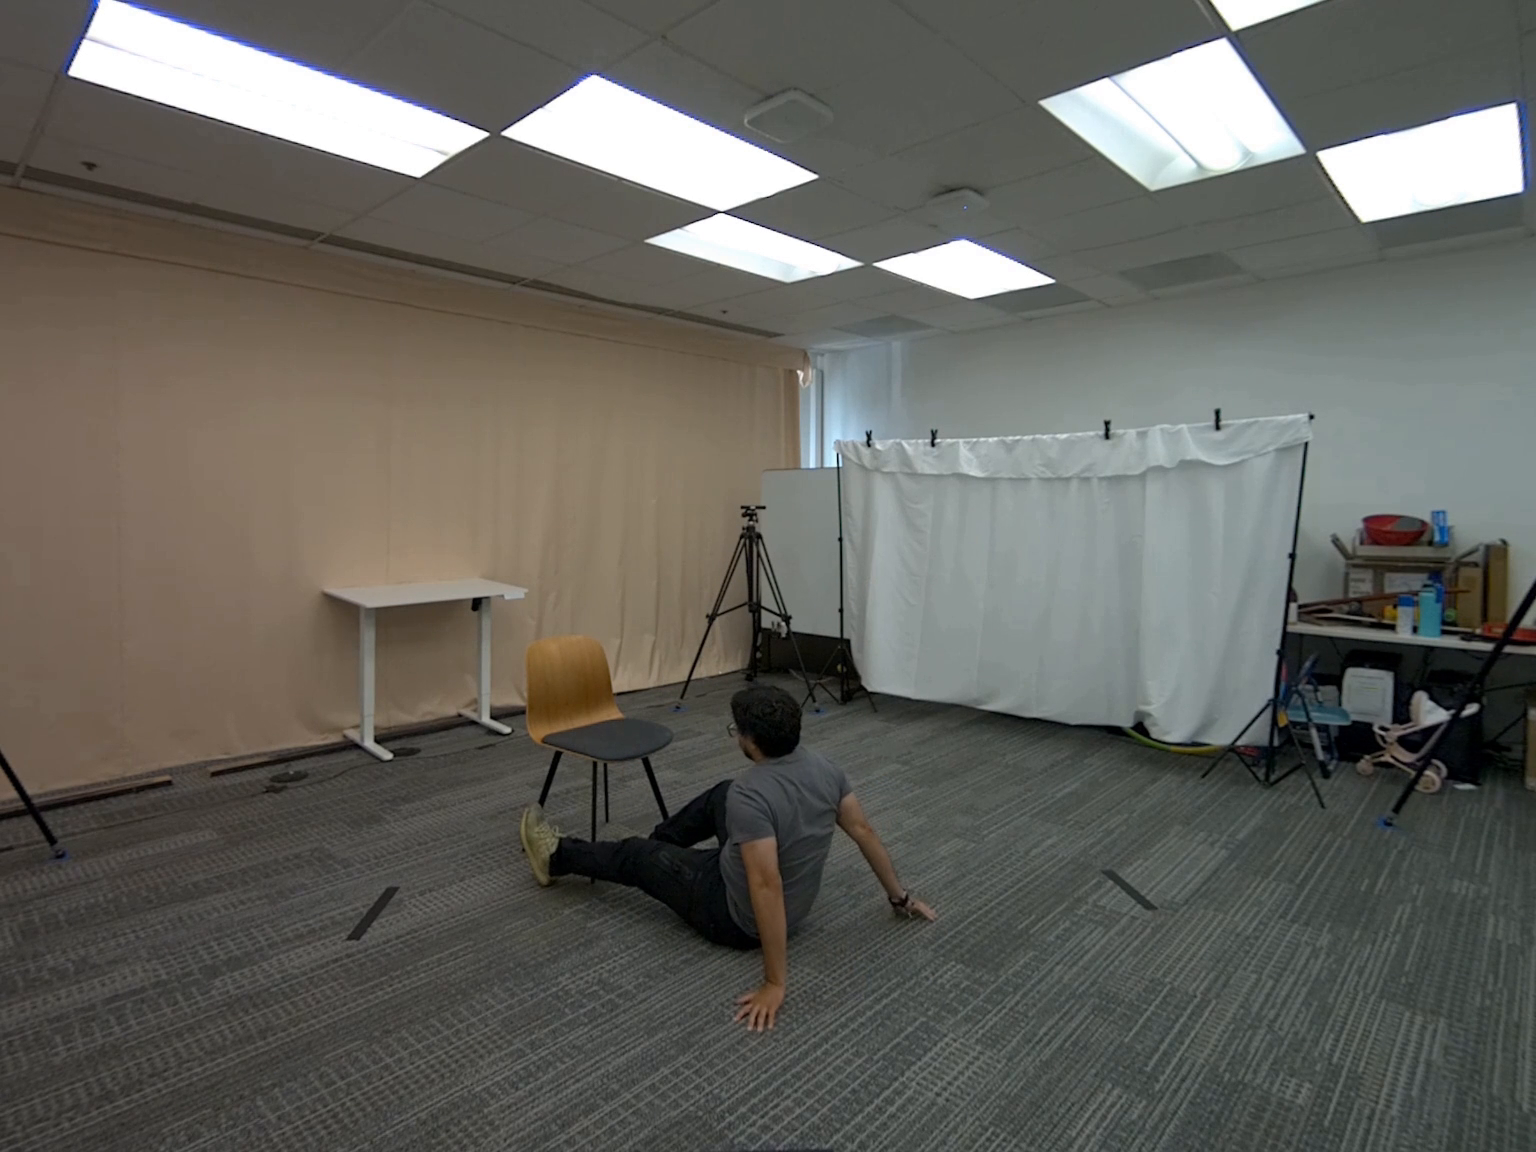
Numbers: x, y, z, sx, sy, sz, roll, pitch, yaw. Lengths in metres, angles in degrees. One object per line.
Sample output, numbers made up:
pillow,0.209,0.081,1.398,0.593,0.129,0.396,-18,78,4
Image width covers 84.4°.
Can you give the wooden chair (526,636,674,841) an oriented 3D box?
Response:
wooden chair,-0.679,0.688,3.397,0.539,0.877,0.463,-3,0,41
